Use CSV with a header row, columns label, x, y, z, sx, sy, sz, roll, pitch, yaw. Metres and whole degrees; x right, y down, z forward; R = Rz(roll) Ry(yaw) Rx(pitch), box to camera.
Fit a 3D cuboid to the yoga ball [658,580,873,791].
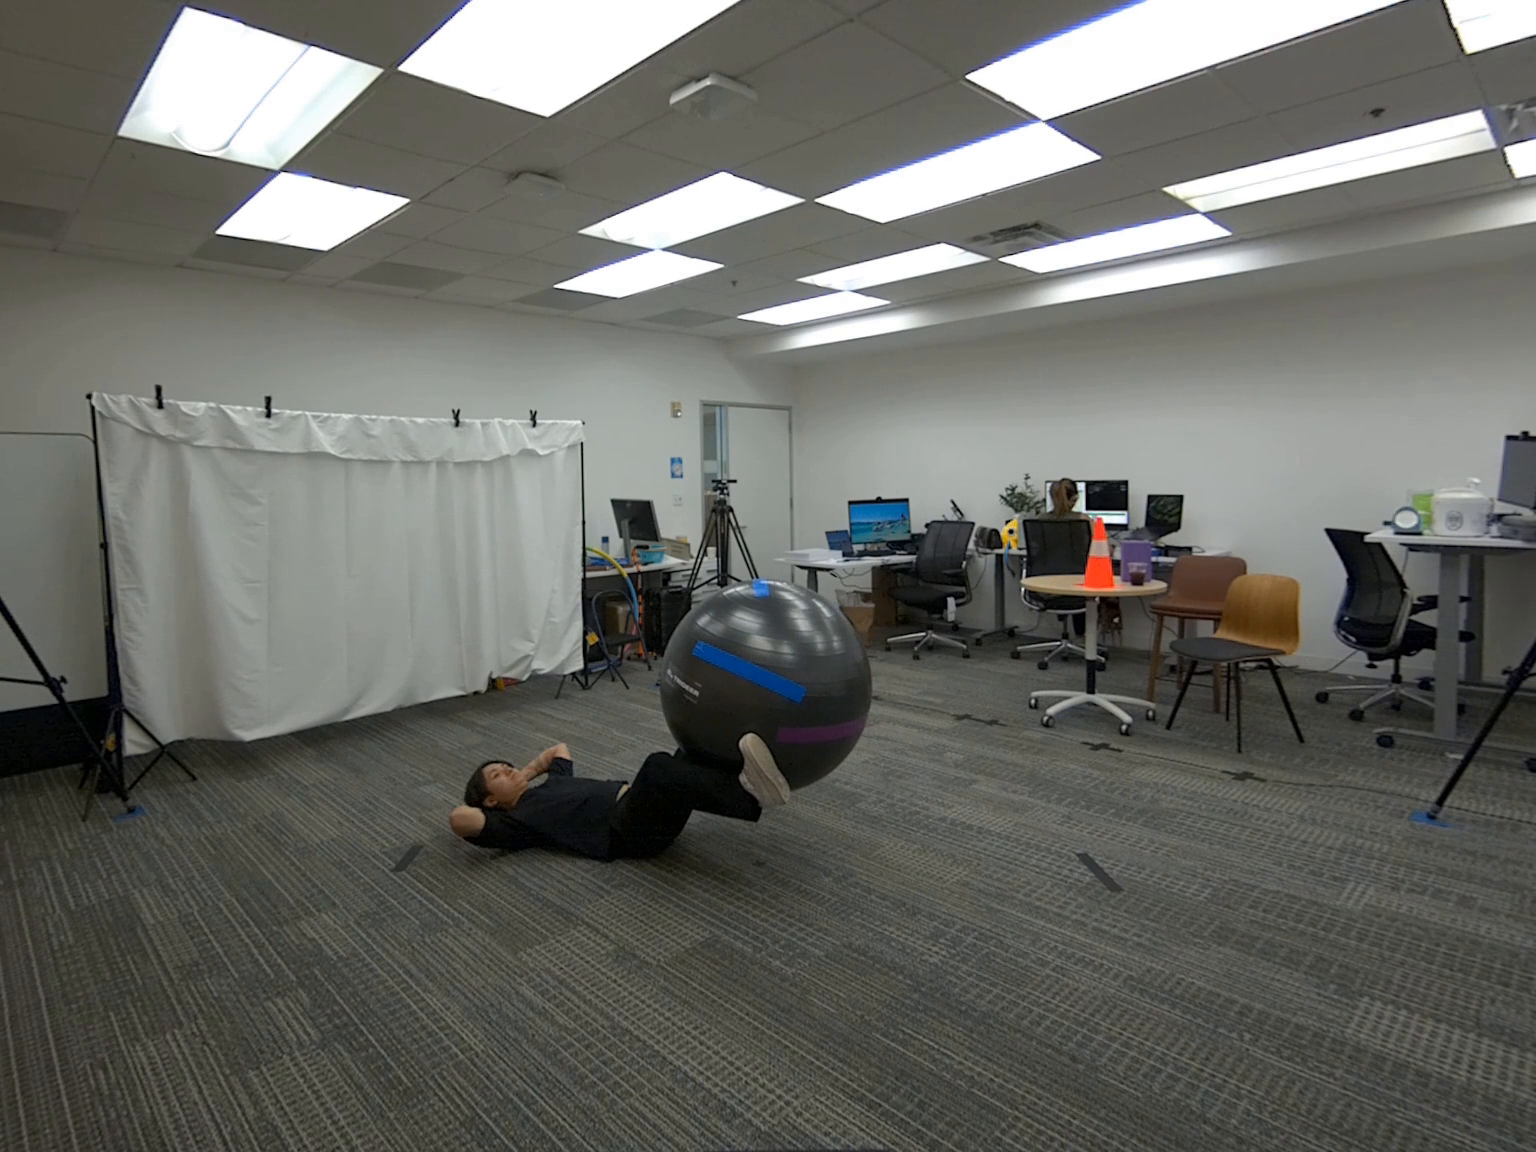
label,x,y,z,sx,sy,sz,roll,pitch,yaw
yoga ball,-0.012,0.393,3.097,0.757,0.755,0.762,-1,5,-2
